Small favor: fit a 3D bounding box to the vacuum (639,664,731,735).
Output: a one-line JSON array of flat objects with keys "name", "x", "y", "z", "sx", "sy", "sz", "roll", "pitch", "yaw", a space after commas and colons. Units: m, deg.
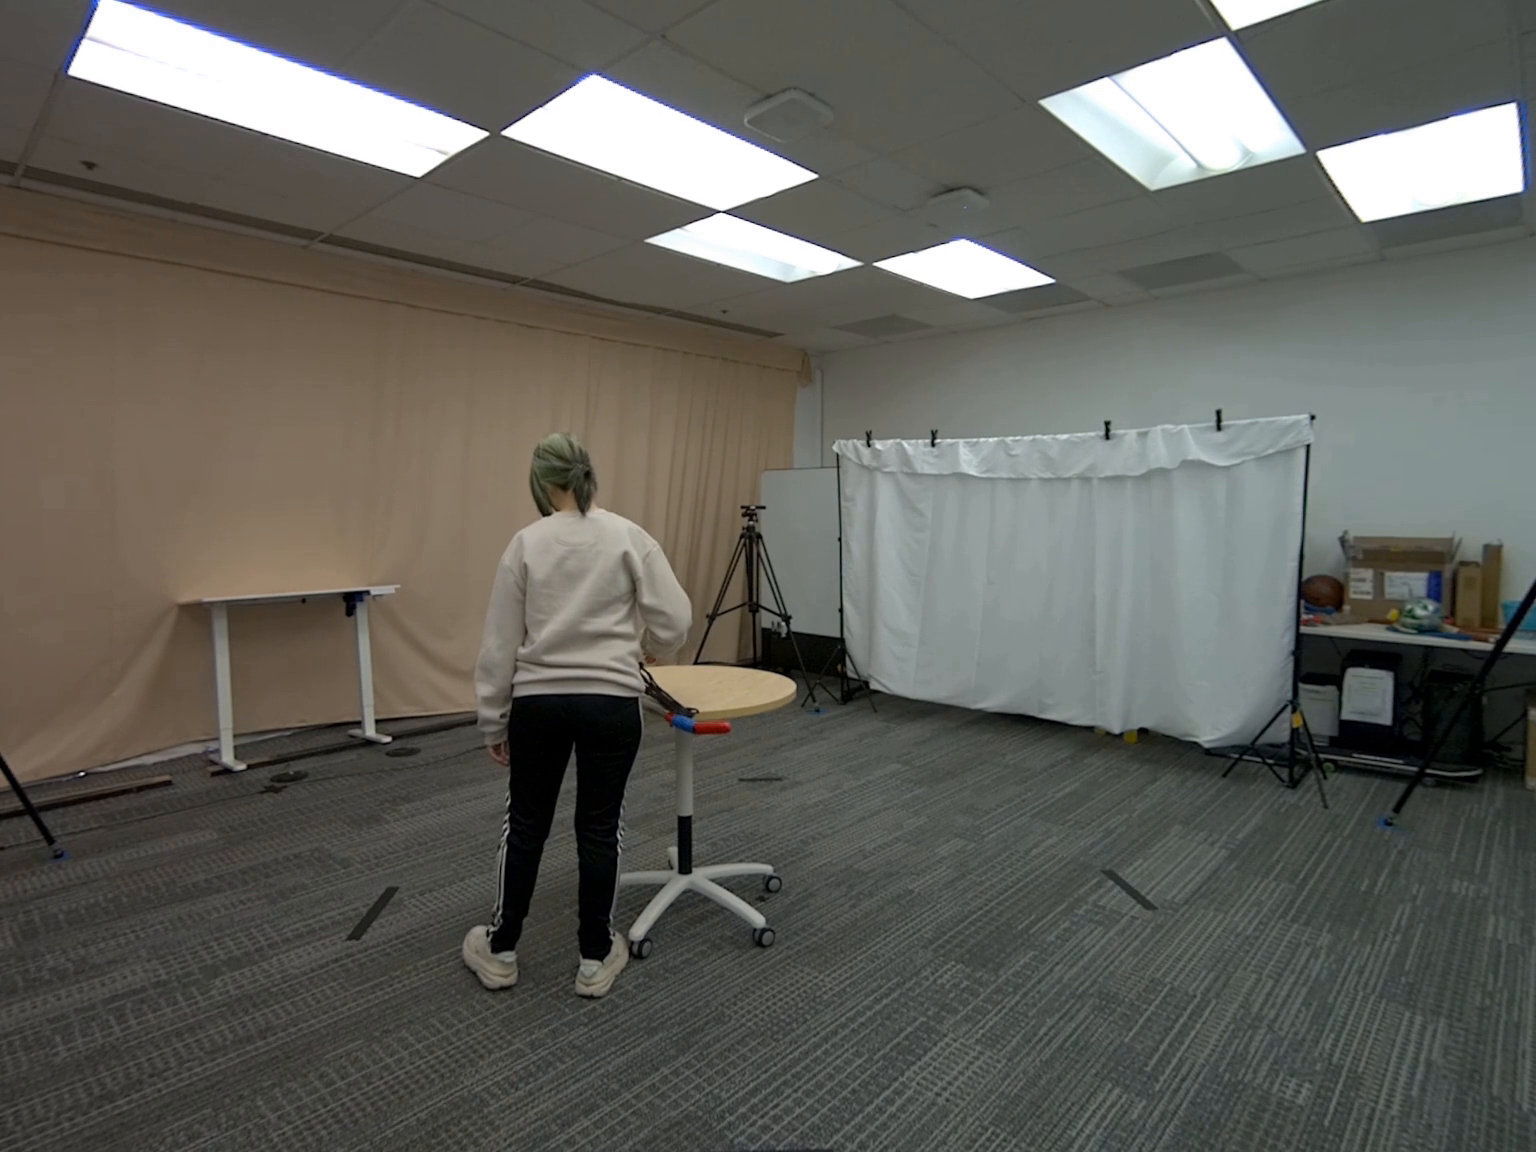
[{"name": "vacuum", "x": -0.436, "y": 0.358, "z": 2.649, "sx": 0.142, "sy": 0.247, "sz": 1.083, "roll": -39, "pitch": 25, "yaw": -24}]
